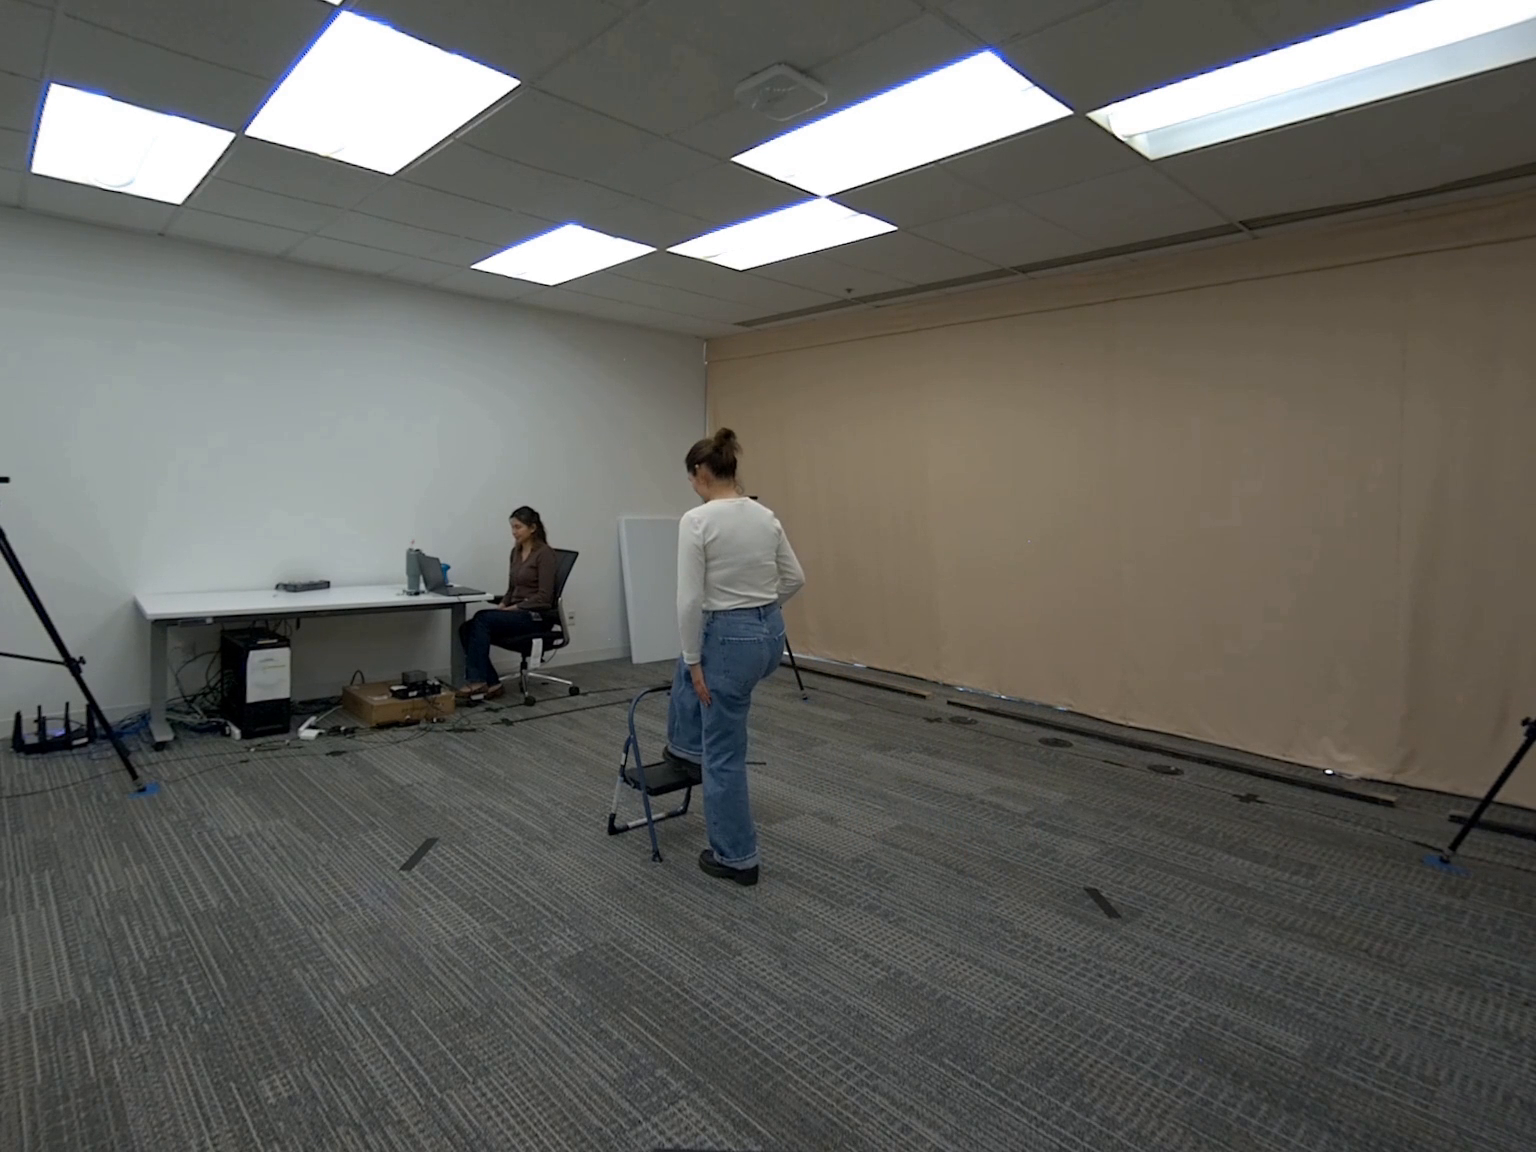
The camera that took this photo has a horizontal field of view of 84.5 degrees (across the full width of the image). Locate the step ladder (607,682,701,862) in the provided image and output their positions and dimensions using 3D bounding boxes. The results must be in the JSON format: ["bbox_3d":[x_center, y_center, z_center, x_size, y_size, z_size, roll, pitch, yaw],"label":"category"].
[{"bbox_3d":[-0.390,0.761,3.447,0.421,0.604,0.358,-2,5,-45],"label":"step ladder"}]
